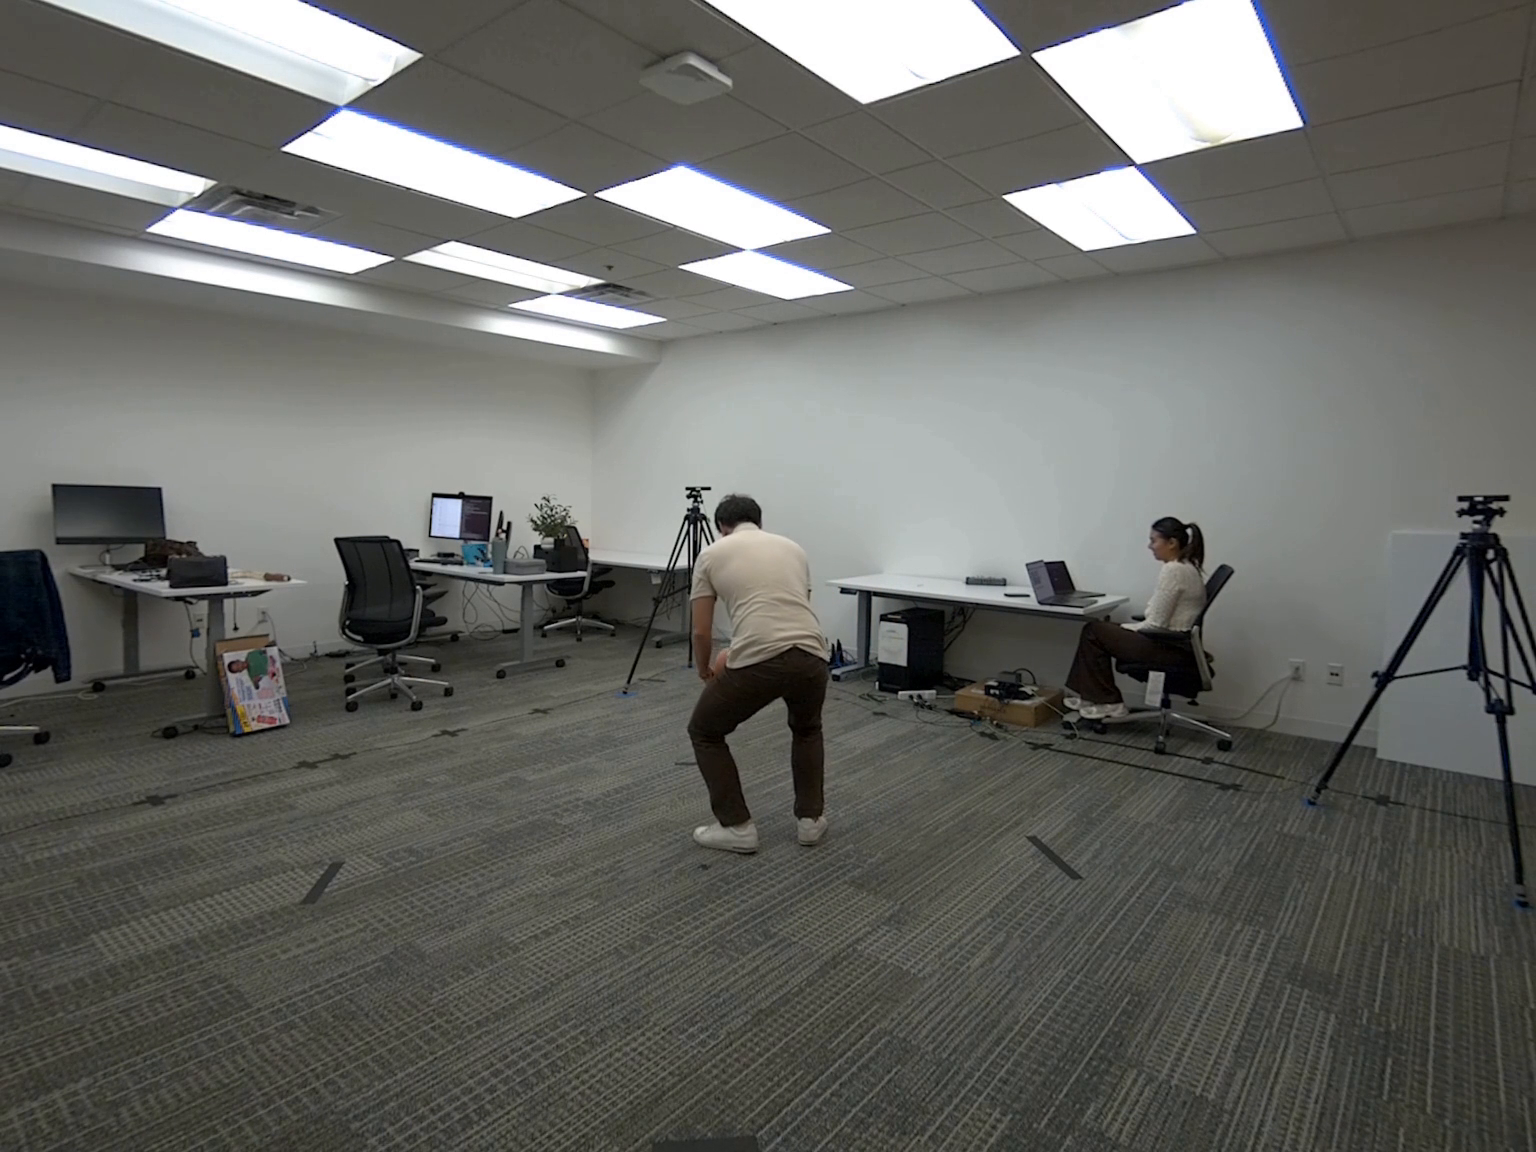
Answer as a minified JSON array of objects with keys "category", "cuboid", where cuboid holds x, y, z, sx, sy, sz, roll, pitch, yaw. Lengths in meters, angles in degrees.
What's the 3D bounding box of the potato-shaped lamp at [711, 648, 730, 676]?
[{"category":"potato-shaped lamp","cuboid":[-0.155,0.392,3.540,0.166,0.197,0.171,-4,6,6]}]
